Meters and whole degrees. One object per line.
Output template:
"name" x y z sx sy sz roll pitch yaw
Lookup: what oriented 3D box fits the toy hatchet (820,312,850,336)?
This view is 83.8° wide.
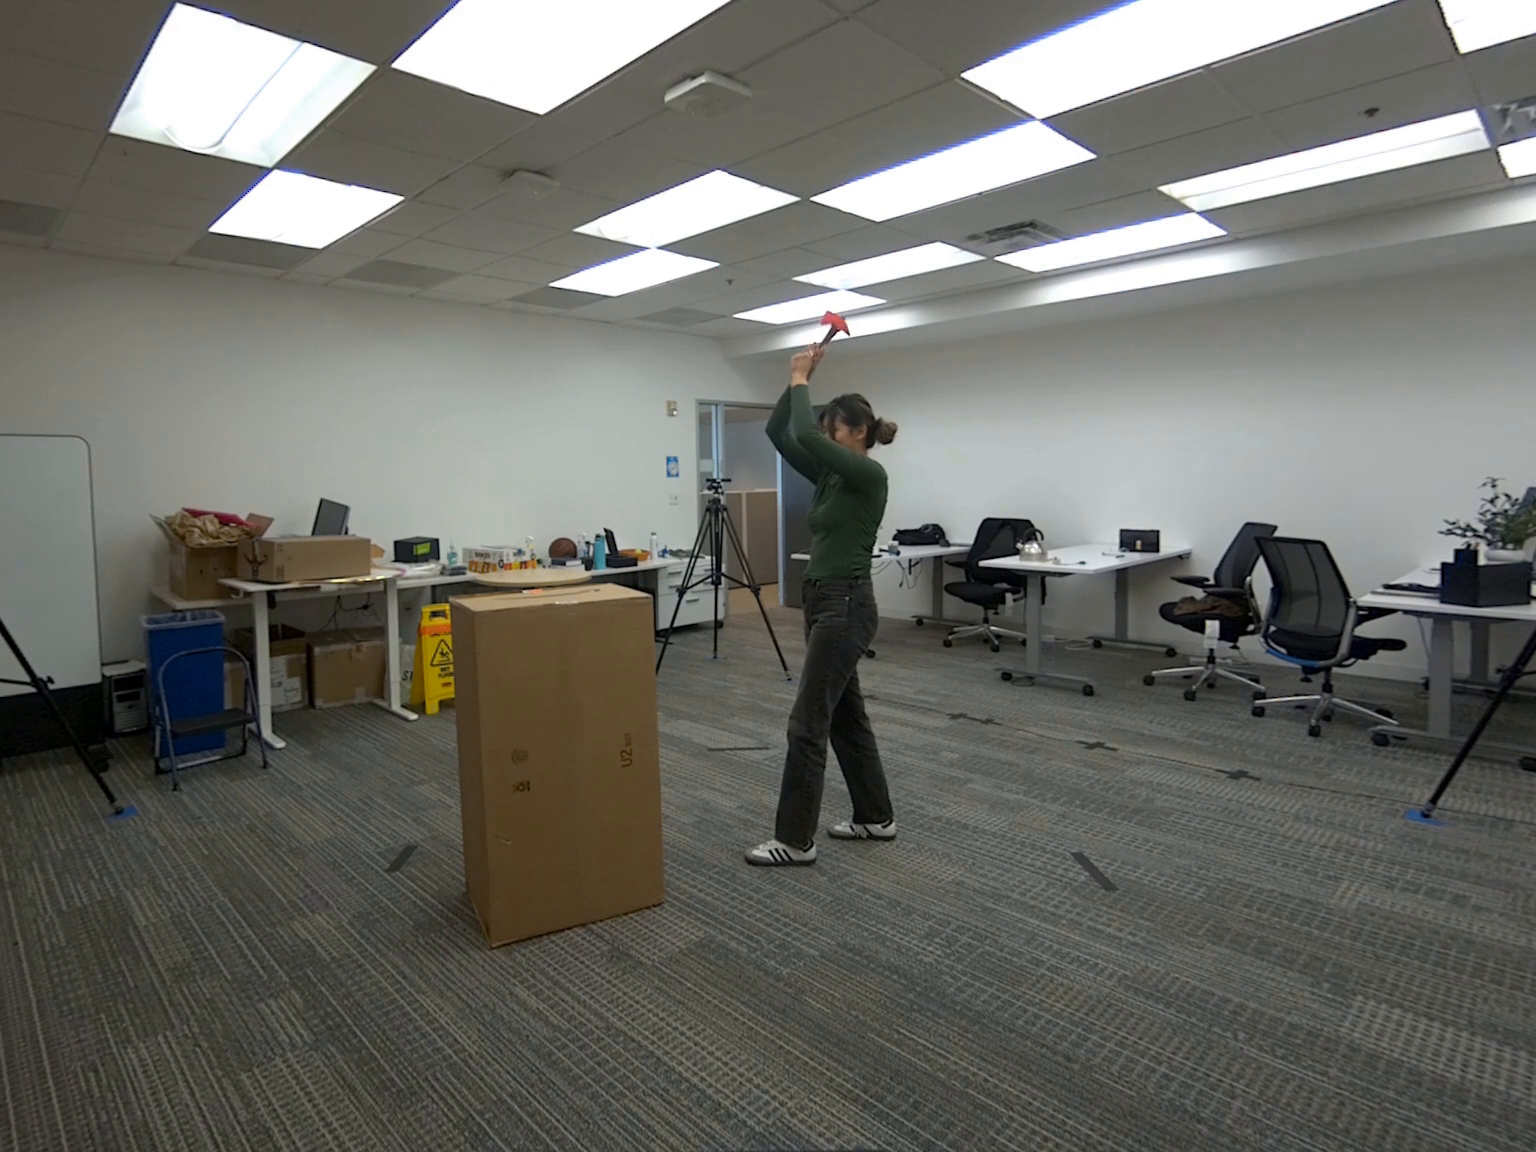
"toy hatchet" 0.167 -0.871 3.107 0.269 0.128 0.030 -36 21 -15
